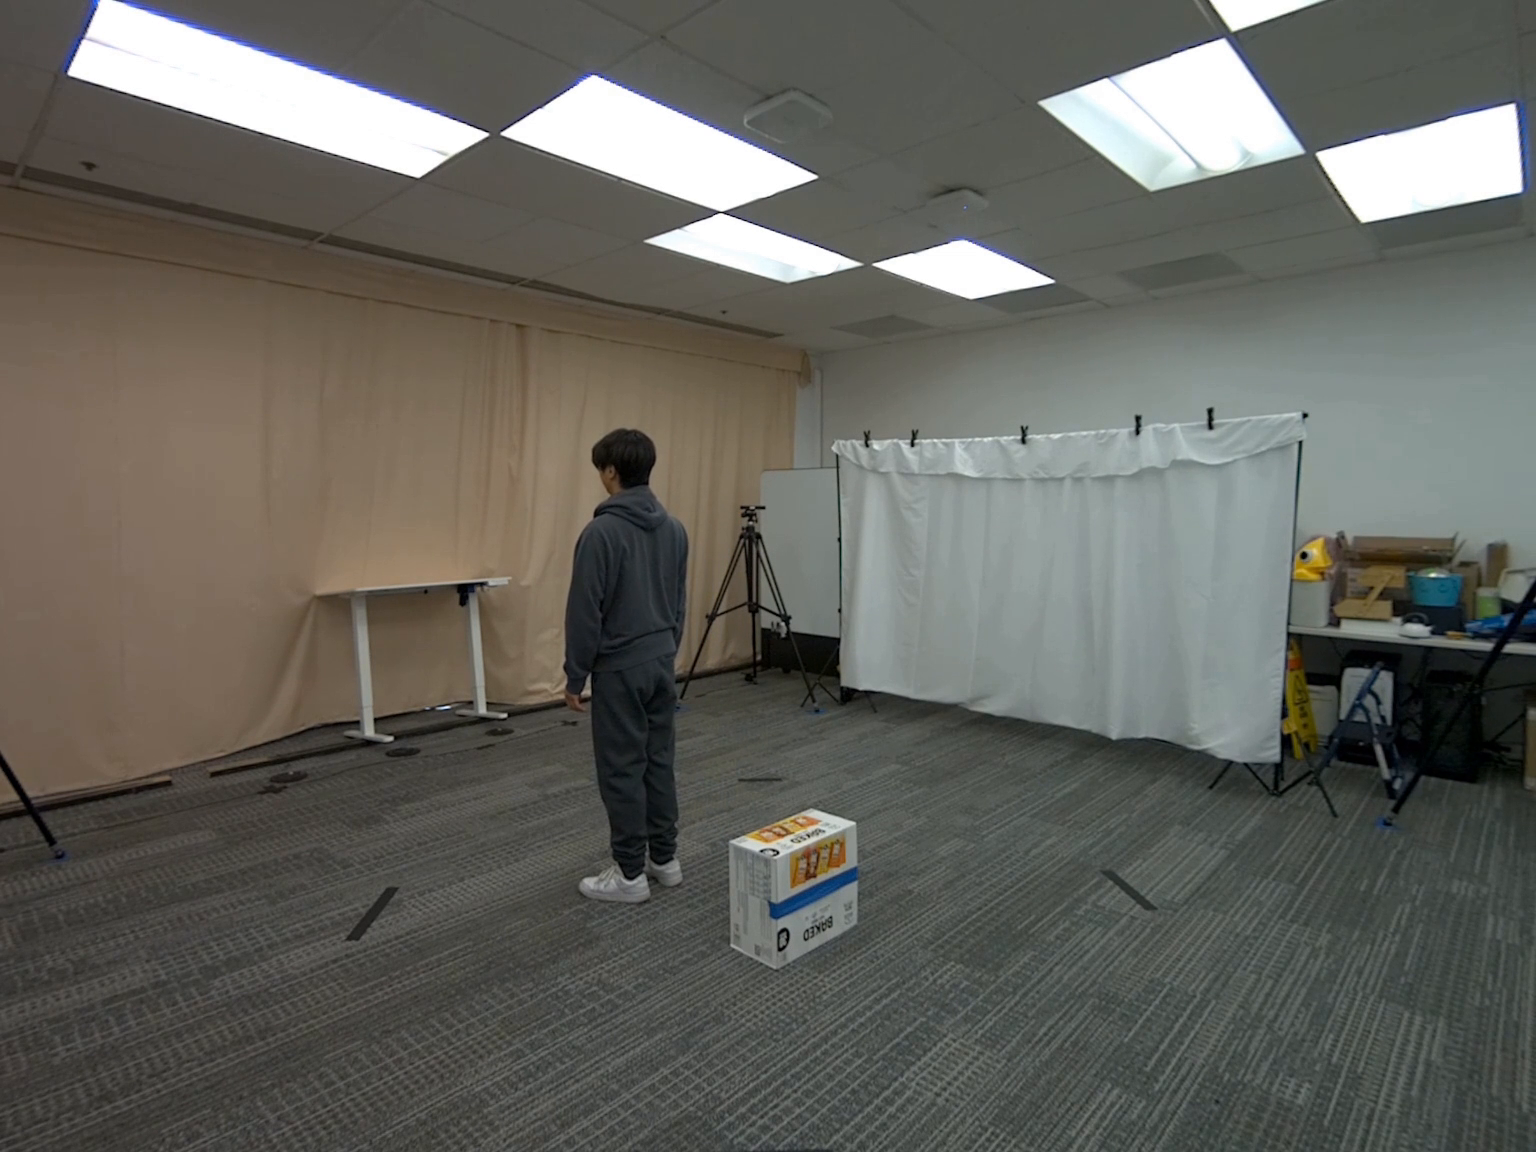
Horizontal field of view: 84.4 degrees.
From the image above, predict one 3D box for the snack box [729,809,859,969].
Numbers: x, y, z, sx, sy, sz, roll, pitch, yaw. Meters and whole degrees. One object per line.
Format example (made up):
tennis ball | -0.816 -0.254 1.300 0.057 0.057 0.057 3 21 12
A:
snack box | 0.092 0.998 2.725 0.212 0.340 0.393 1 3 45
